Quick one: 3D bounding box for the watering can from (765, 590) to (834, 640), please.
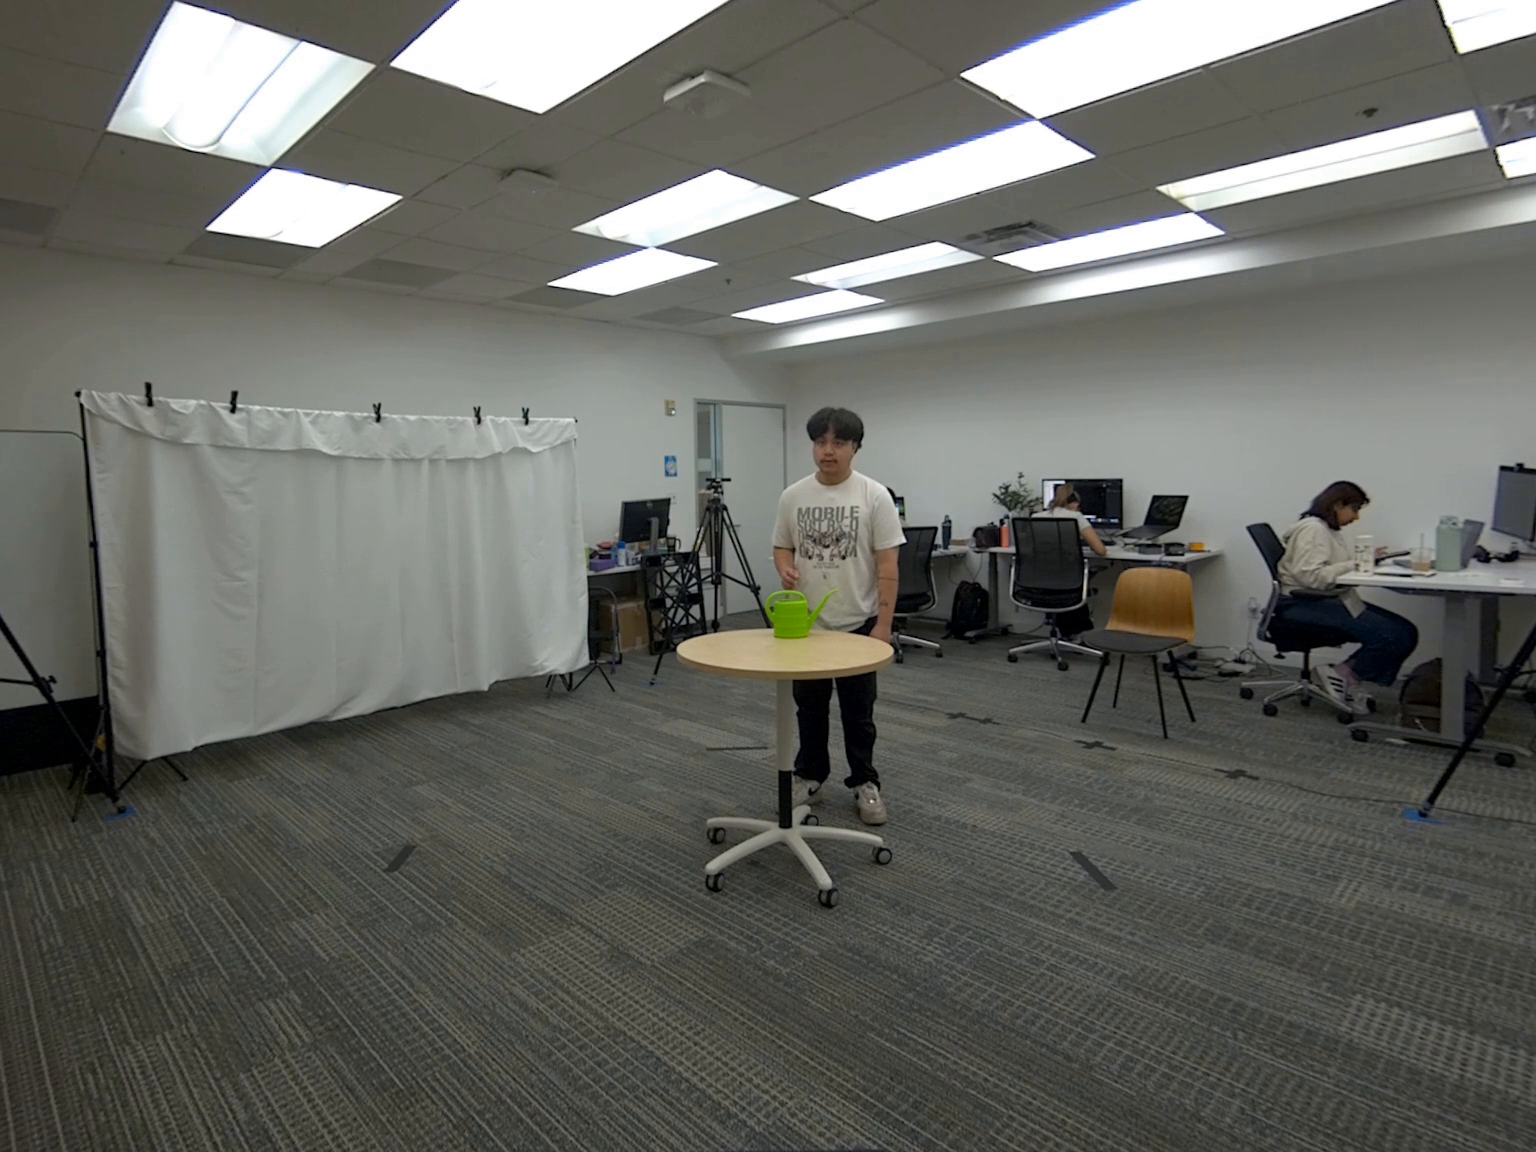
[{"bbox_3d":[0.136,0.146,3.245,0.280,0.176,0.098,-1,5,7],"label":"watering can"}]
